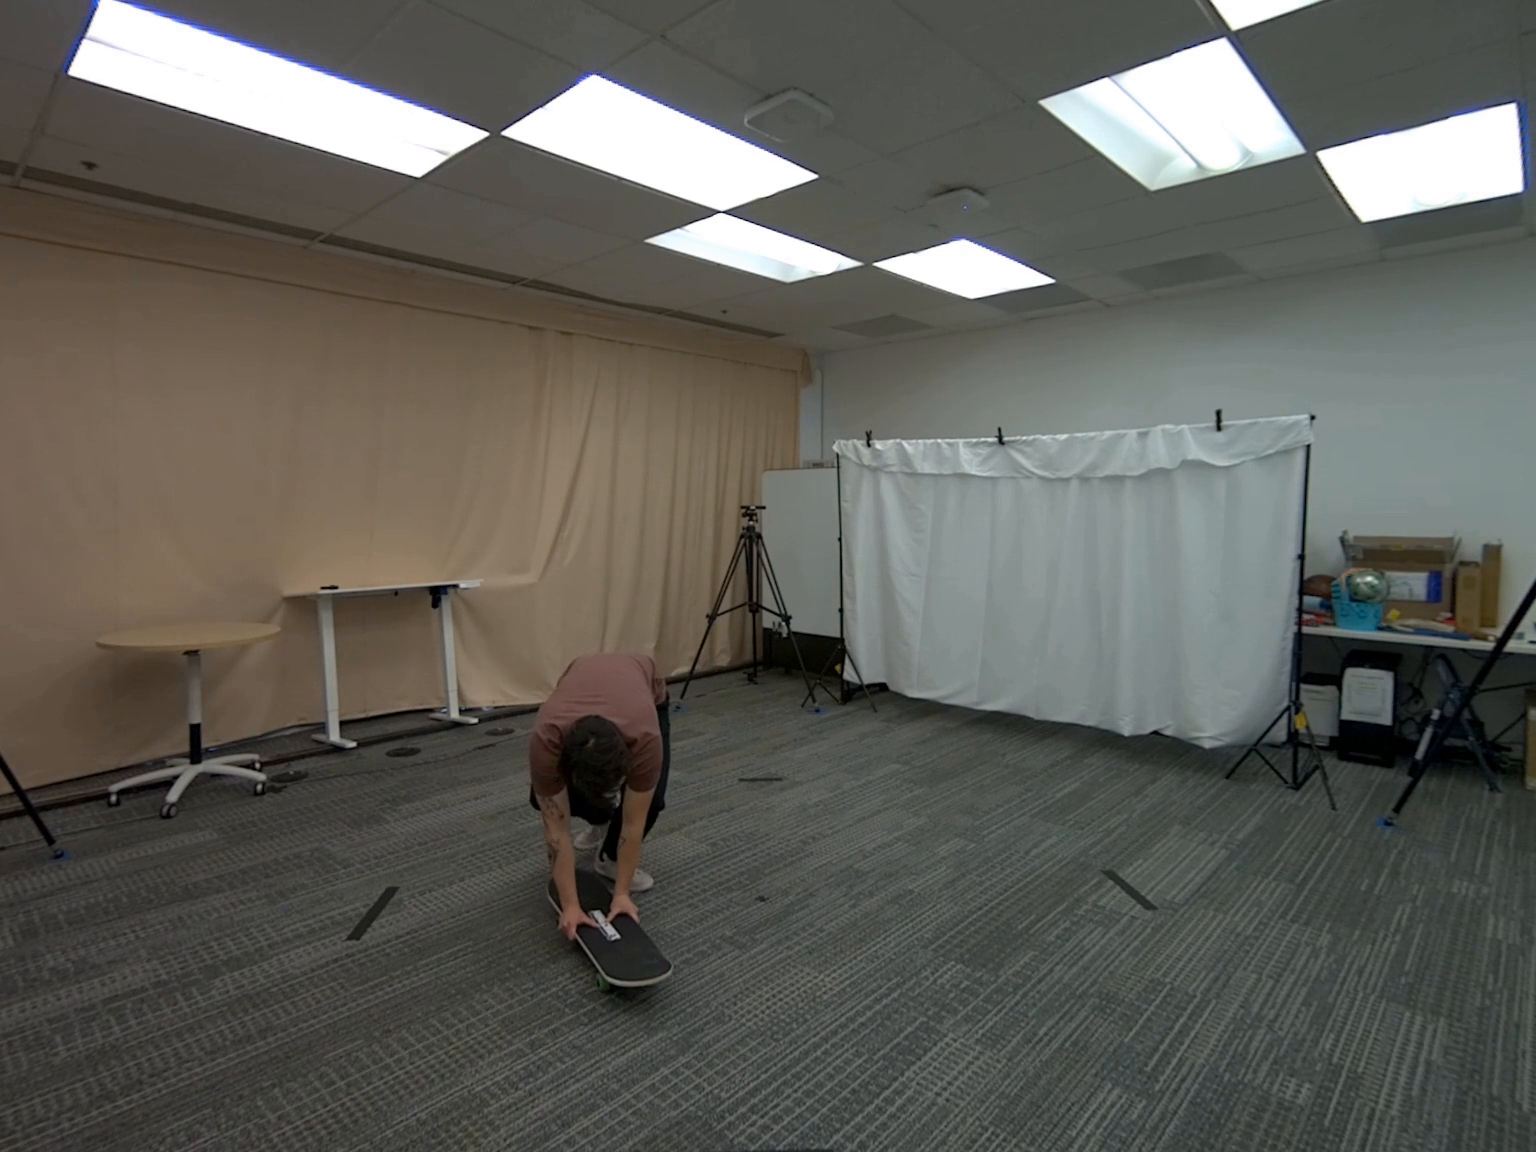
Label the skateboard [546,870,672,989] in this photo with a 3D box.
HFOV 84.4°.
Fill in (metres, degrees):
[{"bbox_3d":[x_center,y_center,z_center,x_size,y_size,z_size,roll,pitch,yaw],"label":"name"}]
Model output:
[{"bbox_3d":[-0.515,1.121,2.634,0.188,0.110,0.808,-2,4,-30],"label":"skateboard"}]
